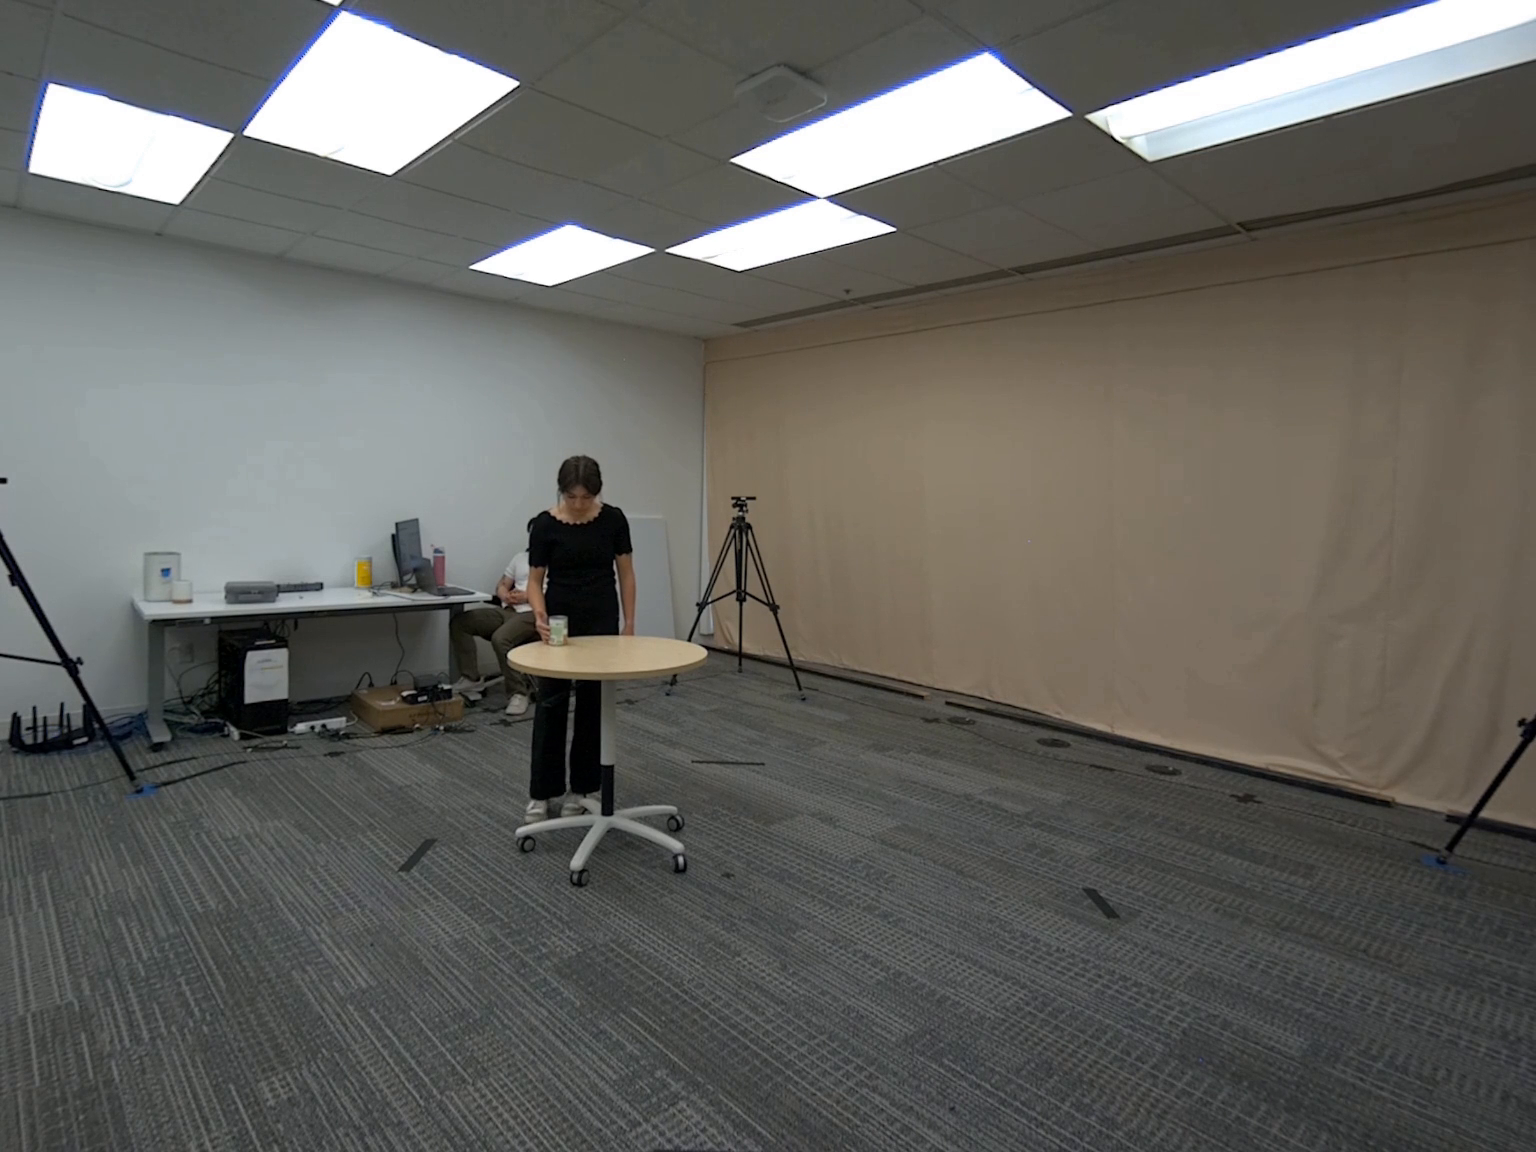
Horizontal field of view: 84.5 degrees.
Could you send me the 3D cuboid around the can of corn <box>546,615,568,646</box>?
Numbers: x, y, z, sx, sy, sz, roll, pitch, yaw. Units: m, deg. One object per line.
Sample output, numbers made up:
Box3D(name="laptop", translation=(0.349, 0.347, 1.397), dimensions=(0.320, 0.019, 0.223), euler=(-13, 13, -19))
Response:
Box3D(name="can of corn", translation=(-0.872, 0.226, 3.410), dimensions=(0.074, 0.111, 0.074), euler=(0, 2, -1))
